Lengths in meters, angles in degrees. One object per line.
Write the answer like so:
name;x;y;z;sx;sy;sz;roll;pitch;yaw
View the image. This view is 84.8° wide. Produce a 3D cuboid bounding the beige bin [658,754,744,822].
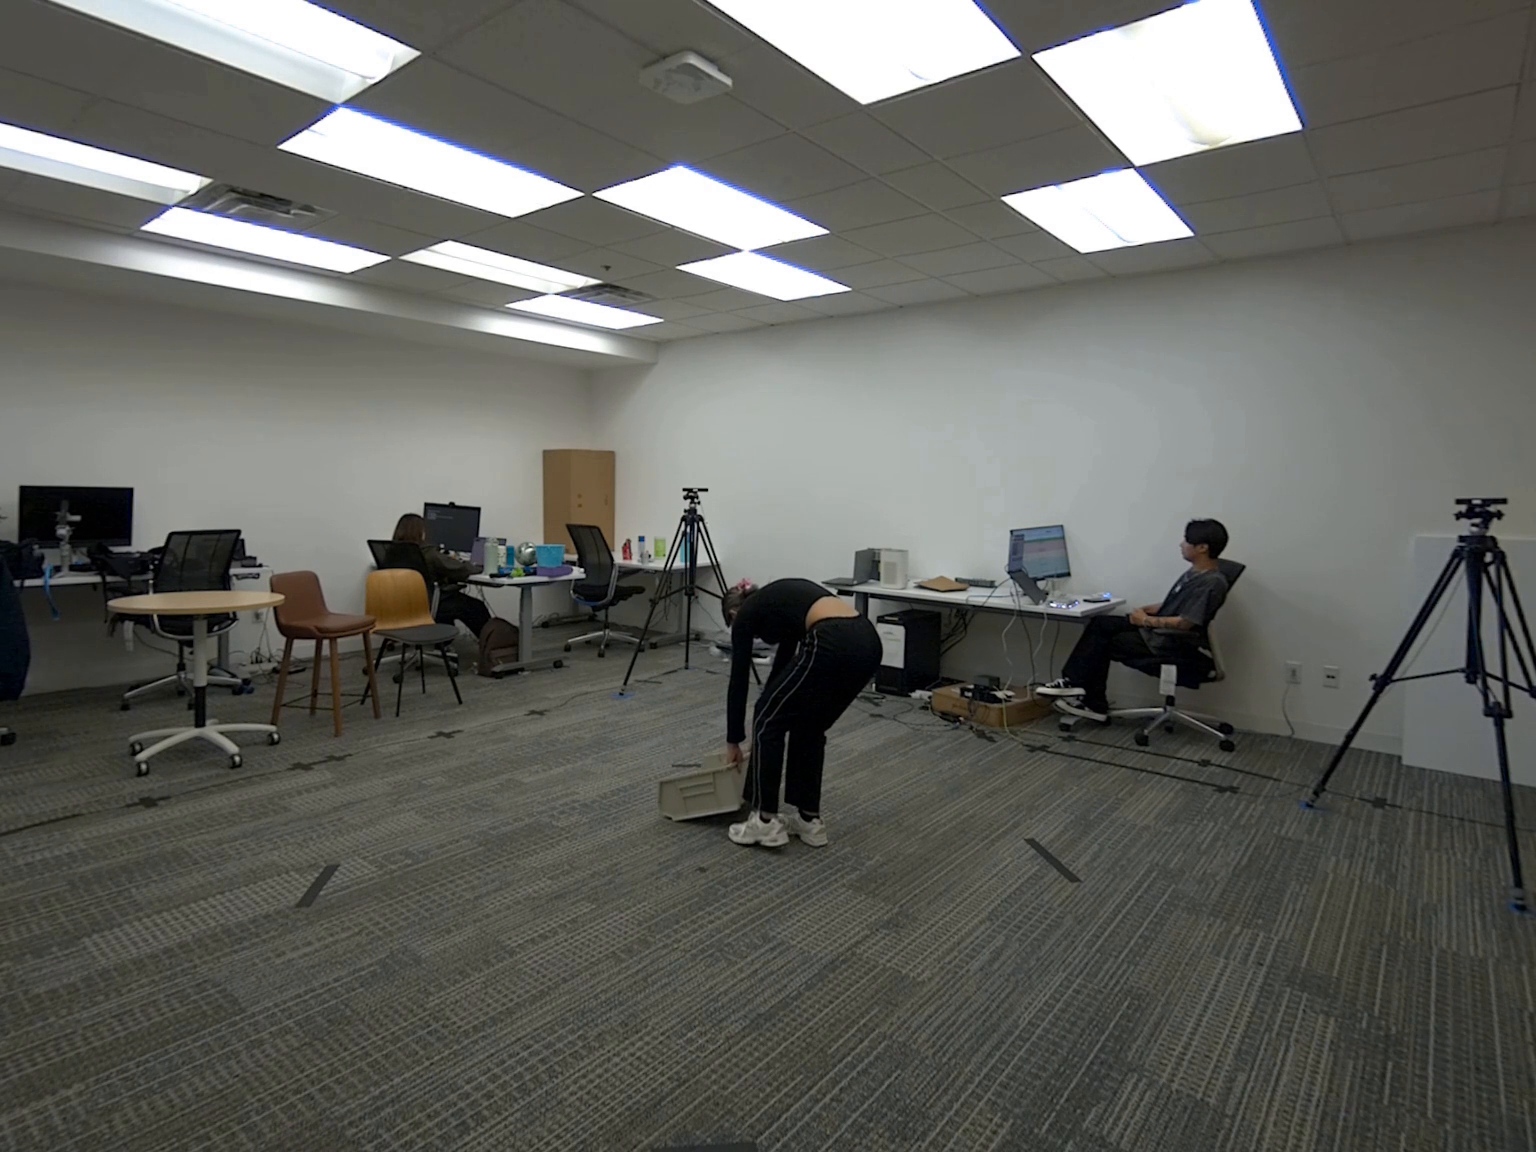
beige bin;-0.241;0.890;3.695;0.383;0.190;0.413;-15;-4;22
